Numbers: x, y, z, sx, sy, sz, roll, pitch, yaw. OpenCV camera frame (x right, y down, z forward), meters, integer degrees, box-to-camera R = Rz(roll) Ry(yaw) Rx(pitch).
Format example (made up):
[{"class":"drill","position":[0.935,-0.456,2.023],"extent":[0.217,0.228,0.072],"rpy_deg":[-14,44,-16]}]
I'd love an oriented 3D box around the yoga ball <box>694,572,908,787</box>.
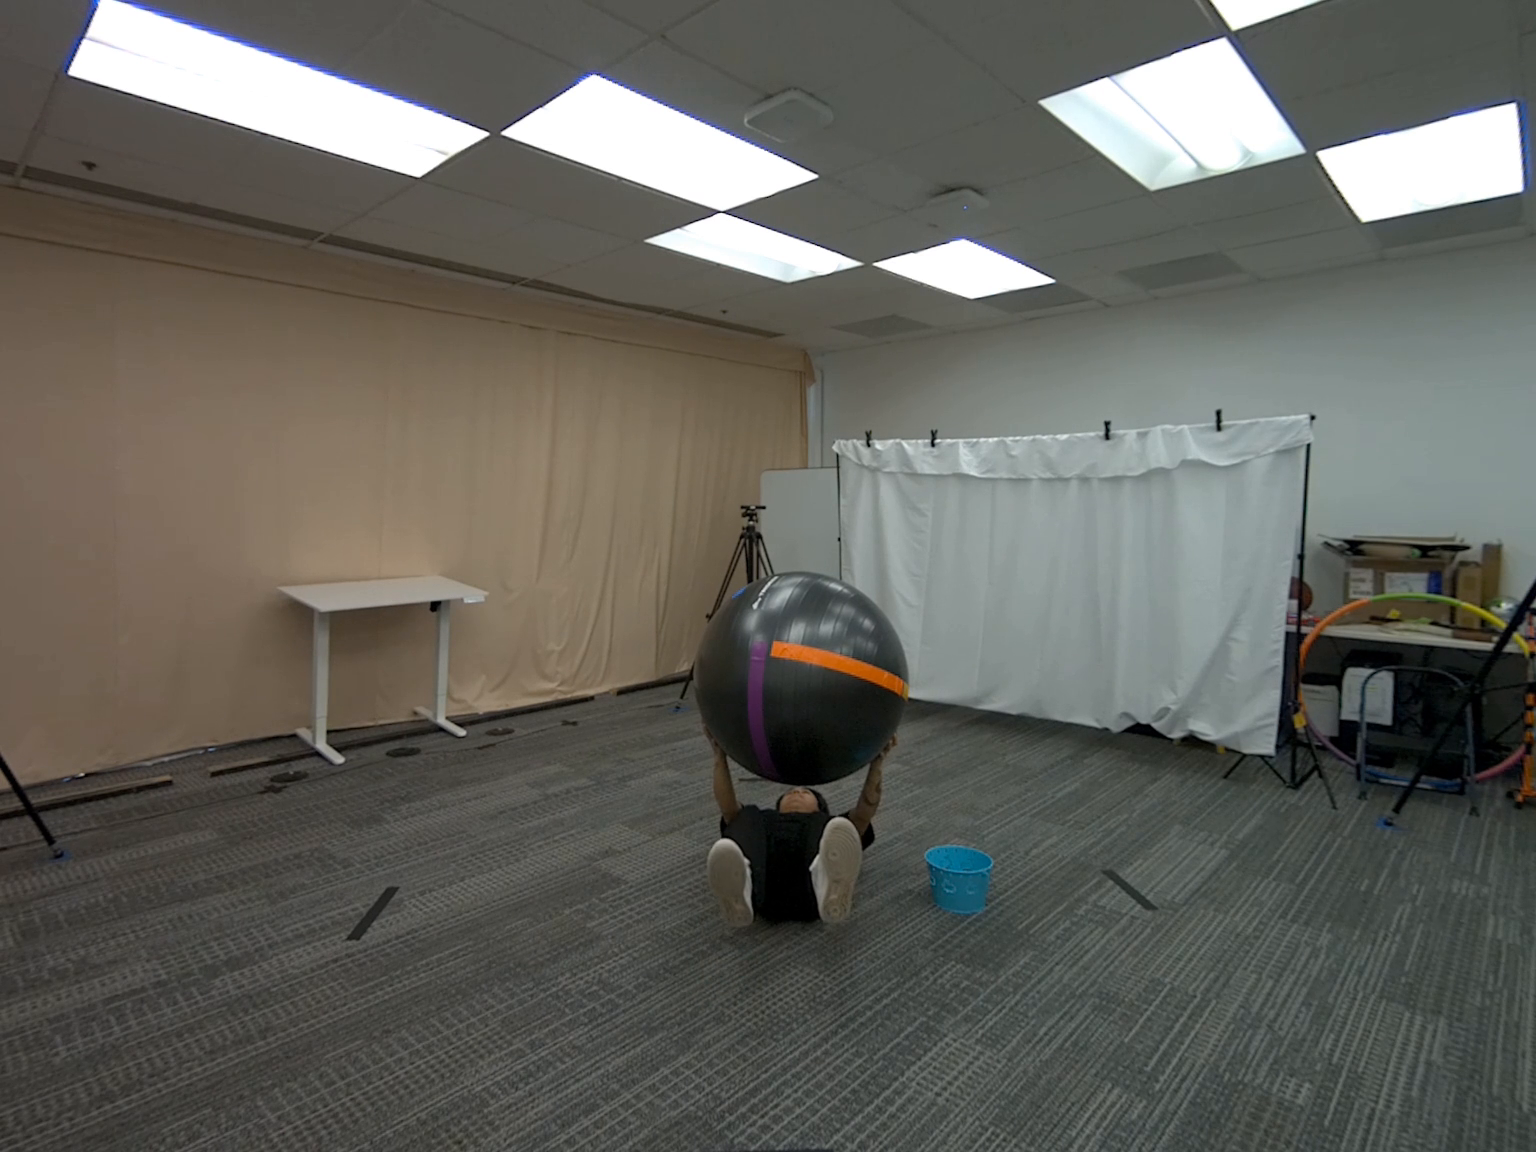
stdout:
[{"class":"yoga ball","position":[0.115,0.370,3.032],"extent":[0.757,0.756,0.760],"rpy_deg":[0,4,-2]}]
